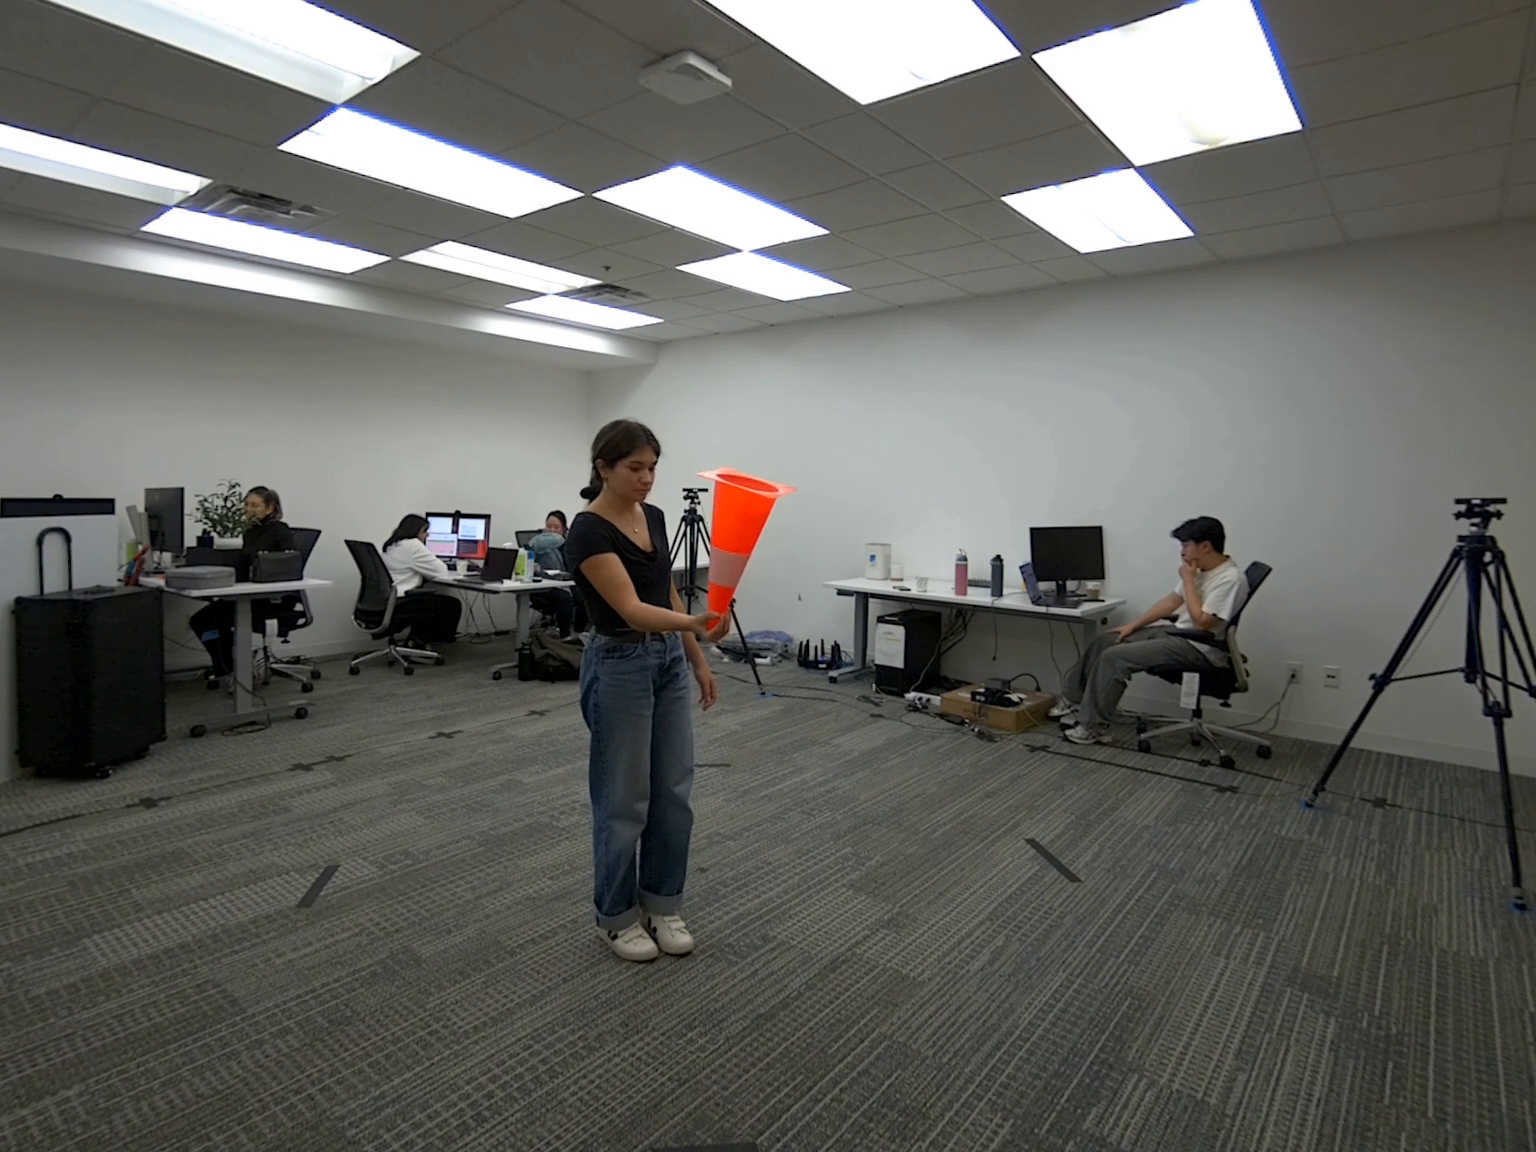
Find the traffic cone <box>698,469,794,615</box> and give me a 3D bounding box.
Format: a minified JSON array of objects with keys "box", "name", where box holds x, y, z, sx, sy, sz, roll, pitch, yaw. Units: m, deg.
[{"box":[-0.097,-0.052,2.076,0.206,0.380,0.204,17,16,11],"name":"traffic cone"}]
